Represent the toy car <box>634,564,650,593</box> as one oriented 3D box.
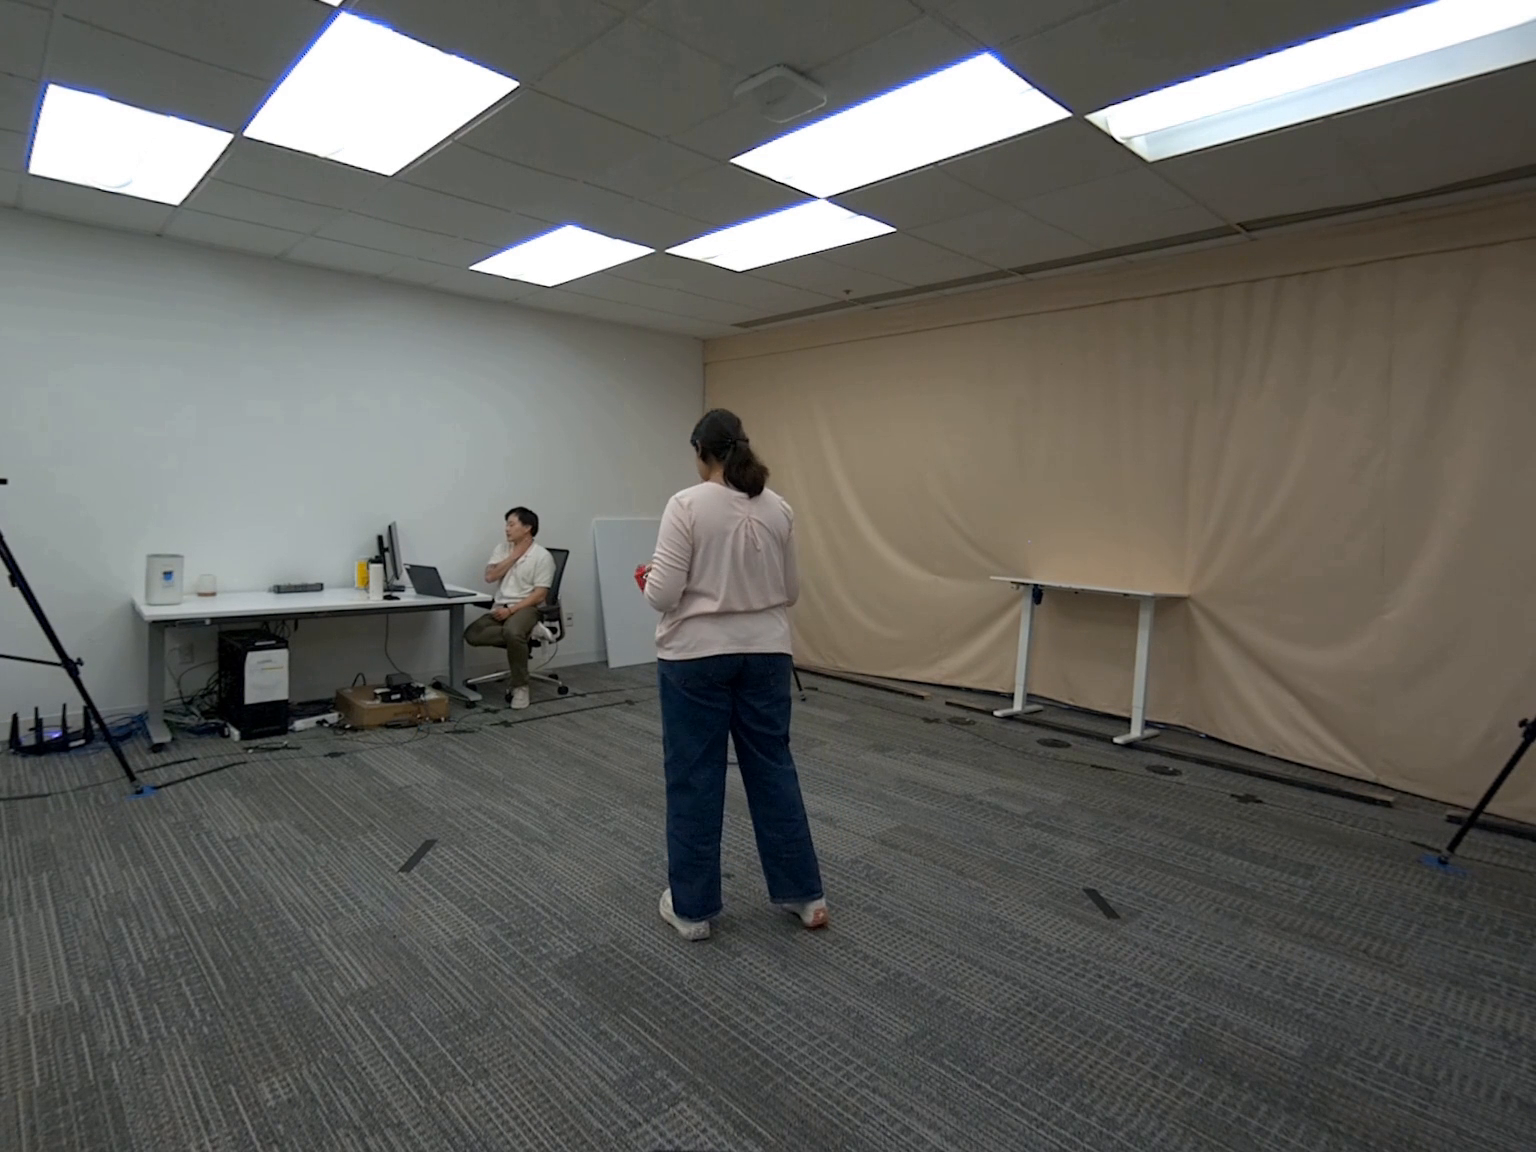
[{"bbox_3d":[-0.324,-0.018,2.929,0.256,0.131,0.082,-28,-3,17],"label":"toy car"}]
